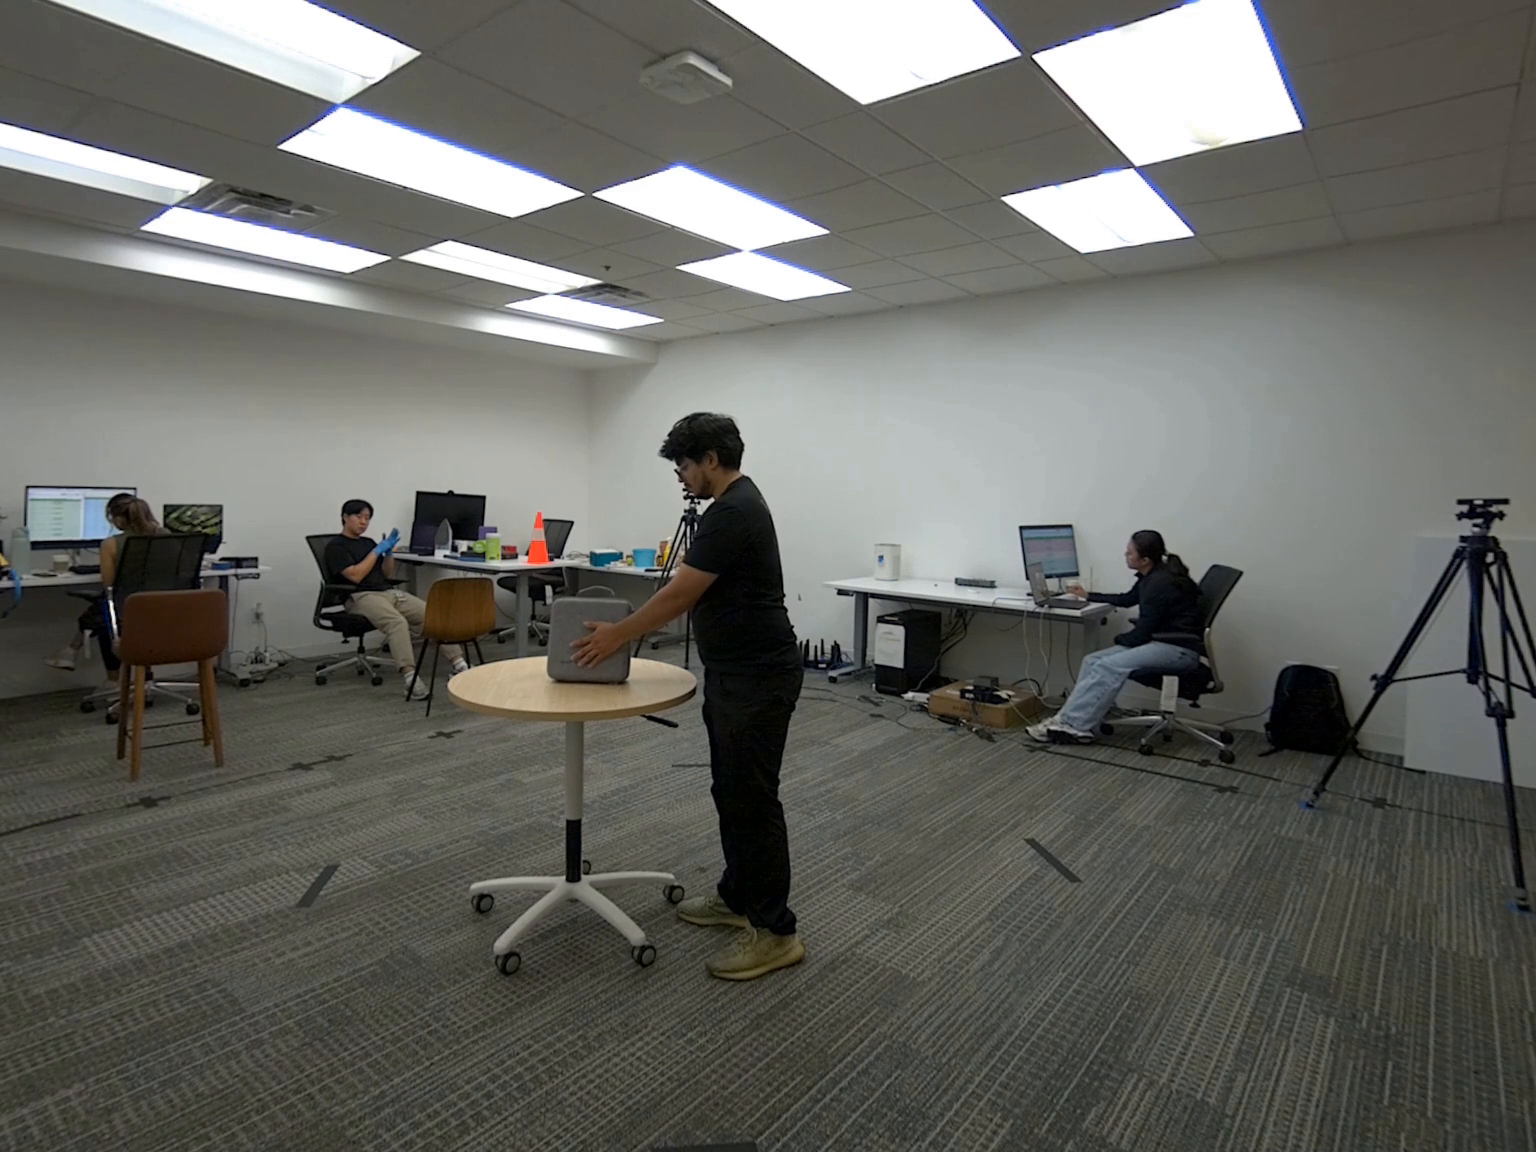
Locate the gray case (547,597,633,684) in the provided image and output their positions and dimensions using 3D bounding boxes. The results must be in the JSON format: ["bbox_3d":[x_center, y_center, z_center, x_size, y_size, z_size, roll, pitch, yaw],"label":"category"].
[{"bbox_3d":[-0.574,0.190,2.676,0.257,0.262,0.103,3,-6,1],"label":"gray case"}]
